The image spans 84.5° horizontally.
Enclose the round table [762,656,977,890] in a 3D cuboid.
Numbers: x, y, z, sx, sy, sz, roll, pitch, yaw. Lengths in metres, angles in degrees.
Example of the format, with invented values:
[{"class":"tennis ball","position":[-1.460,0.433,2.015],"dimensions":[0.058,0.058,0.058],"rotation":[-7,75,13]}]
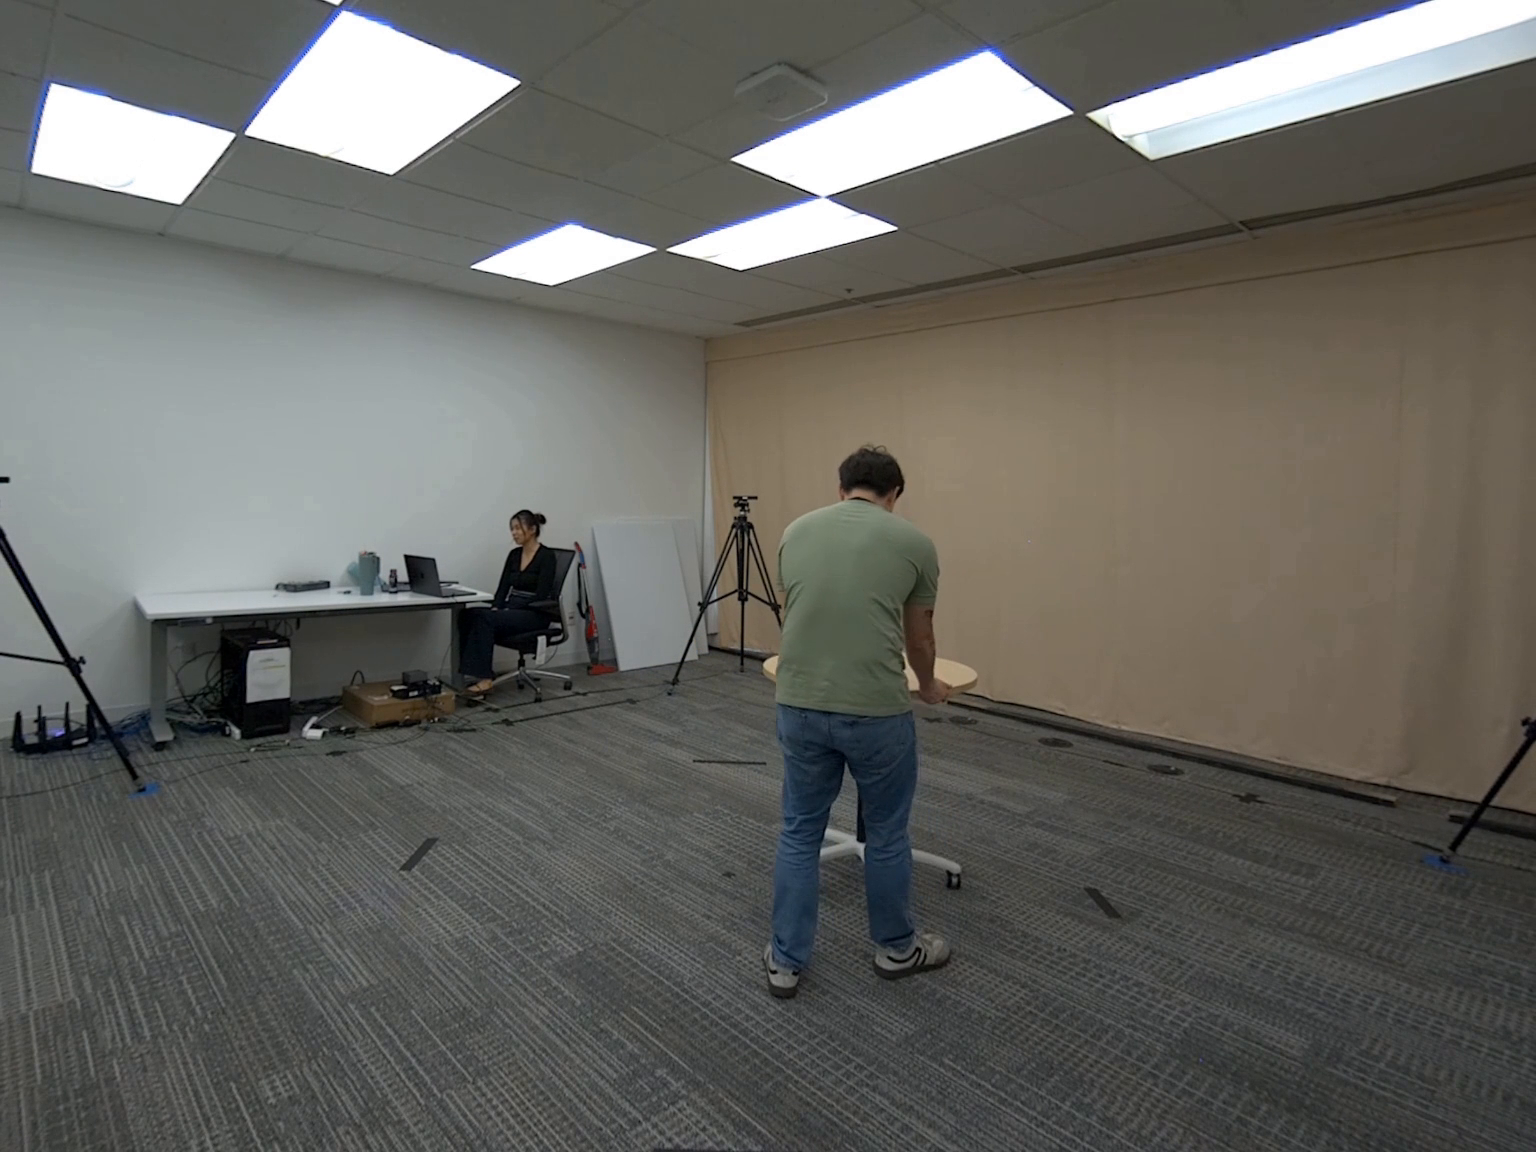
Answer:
[{"class":"round table","position":[0.357,0.731,3.090],"dimensions":[0.763,0.792,0.766],"rotation":[1,4,-1]}]
